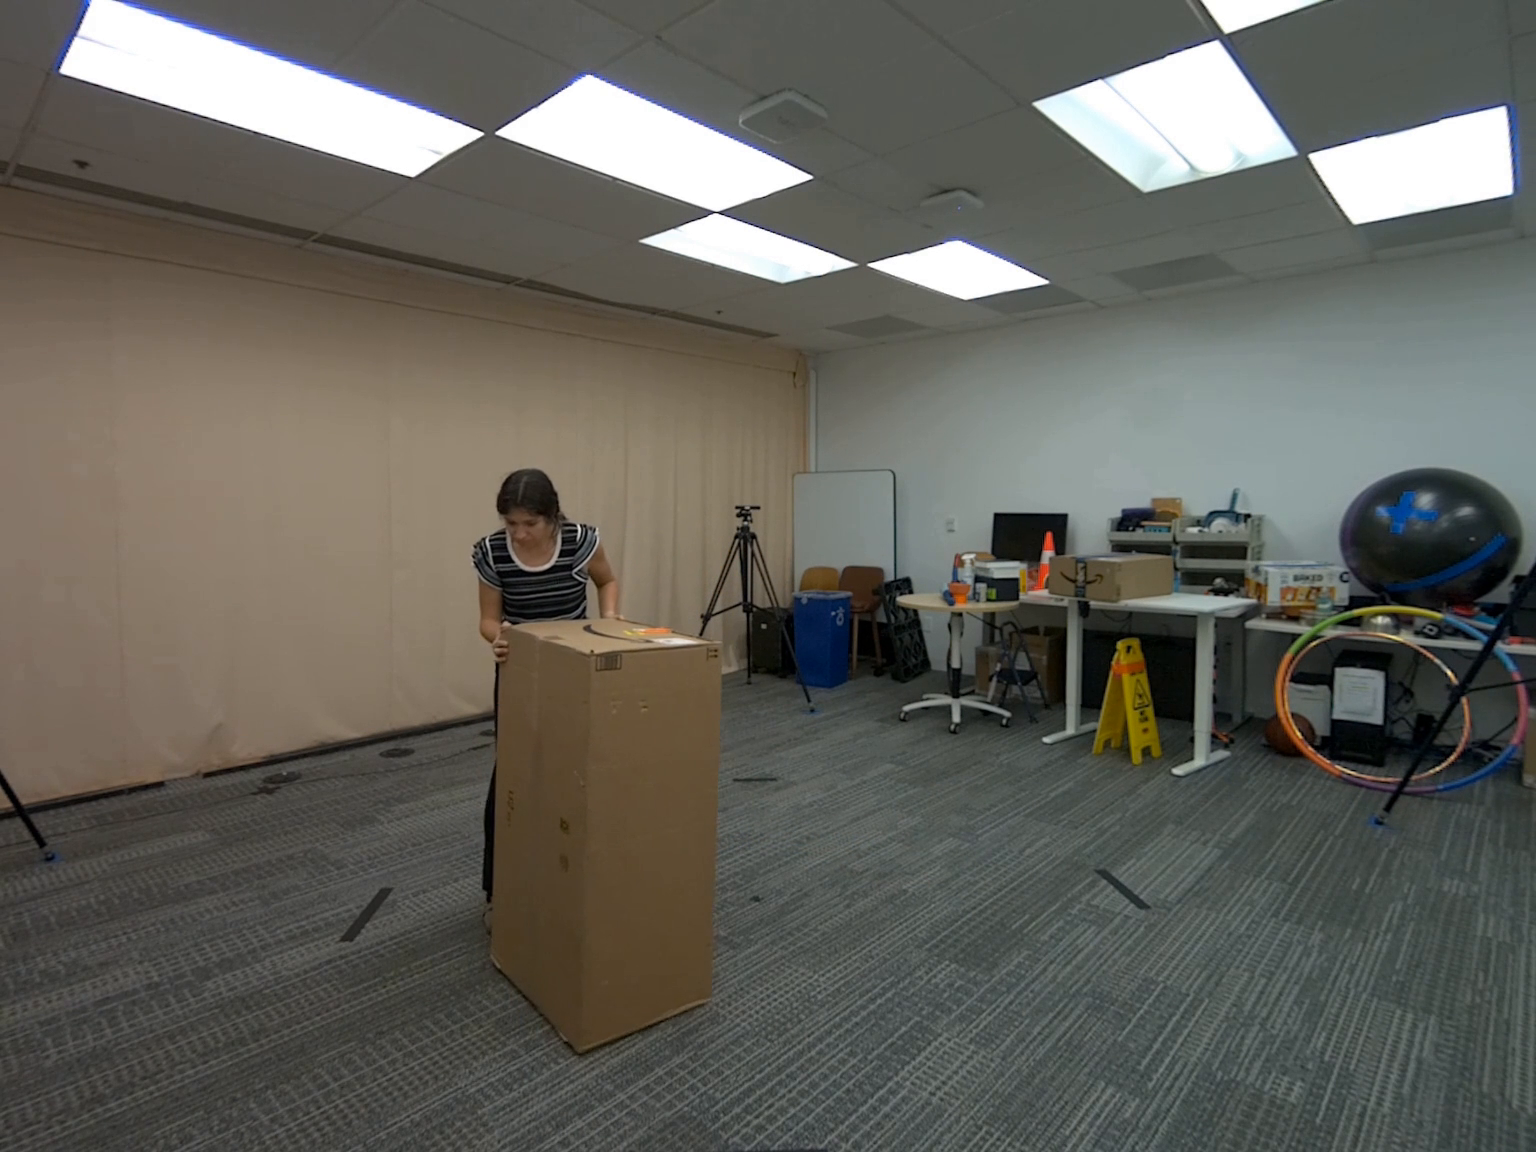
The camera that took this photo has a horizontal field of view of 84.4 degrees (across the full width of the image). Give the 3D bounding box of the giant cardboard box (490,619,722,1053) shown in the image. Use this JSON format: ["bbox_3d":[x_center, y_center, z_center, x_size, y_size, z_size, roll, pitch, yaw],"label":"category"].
[{"bbox_3d":[-0.479,0.682,2.458,0.413,1.024,0.596,0,3,-39],"label":"giant cardboard box"}]
